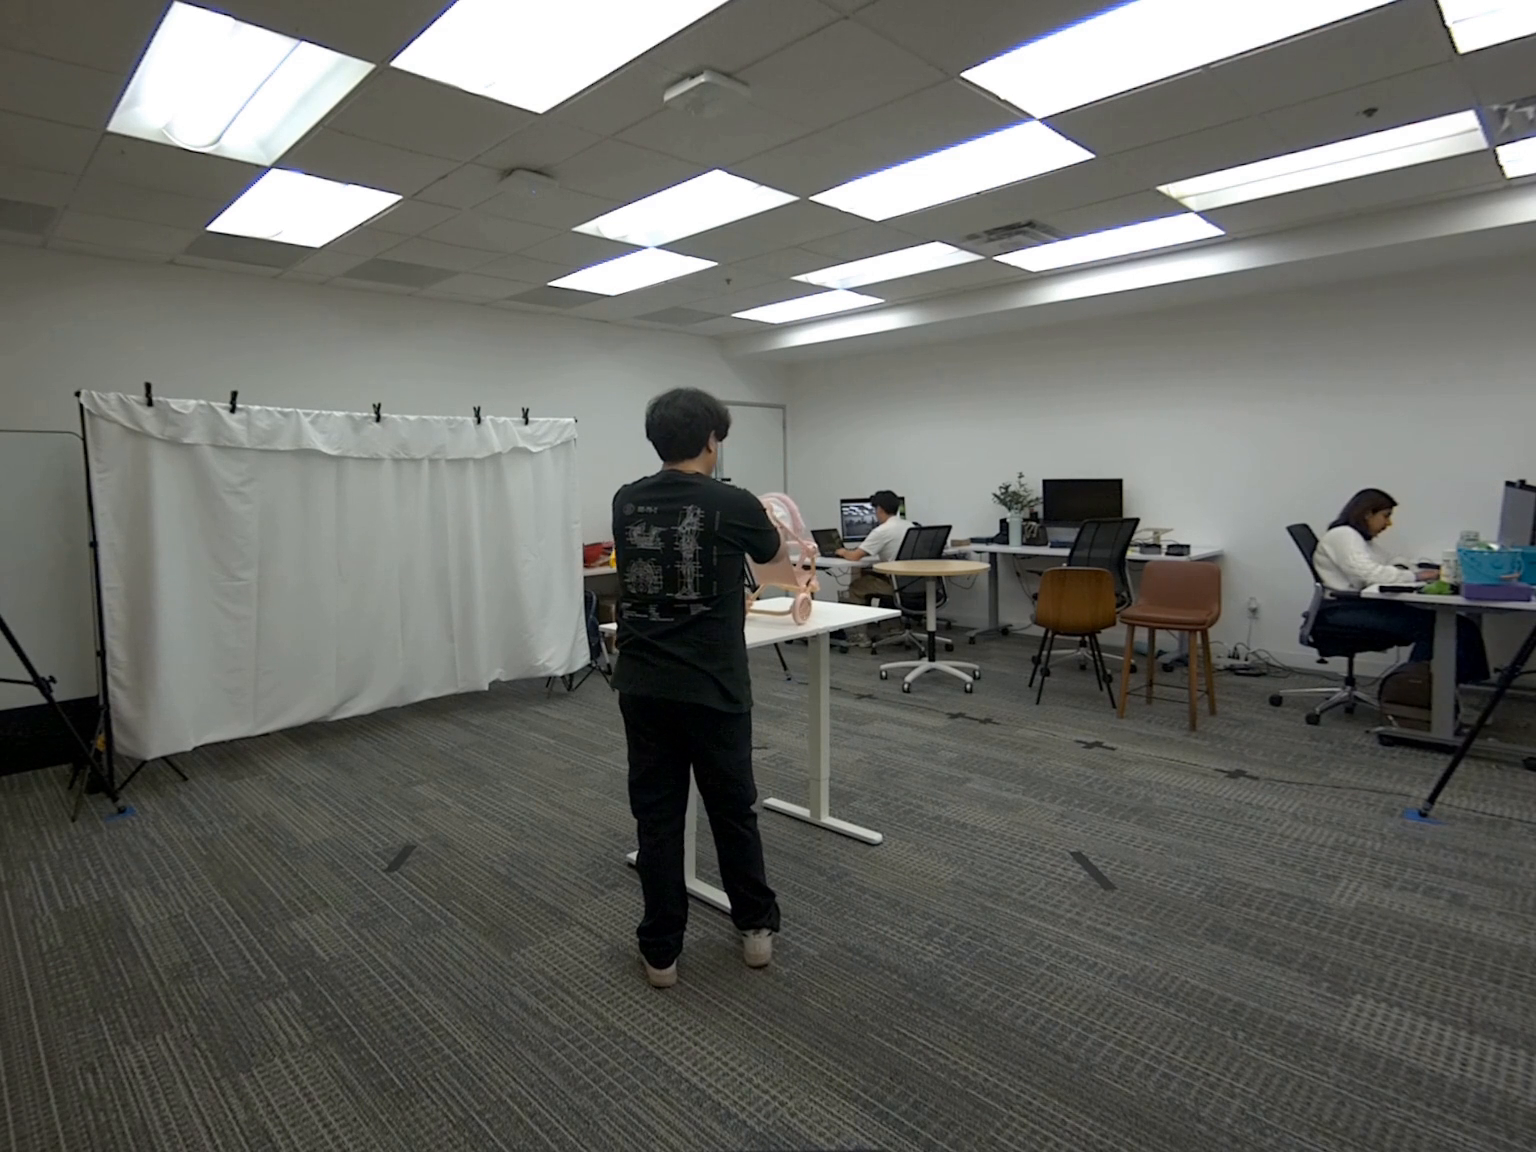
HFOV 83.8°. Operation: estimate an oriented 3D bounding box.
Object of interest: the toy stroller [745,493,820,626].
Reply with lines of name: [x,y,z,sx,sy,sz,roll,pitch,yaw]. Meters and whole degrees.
toy stroller: [0.042,-0.064,3.098,0.290,0.525,0.337,4,22,36]
